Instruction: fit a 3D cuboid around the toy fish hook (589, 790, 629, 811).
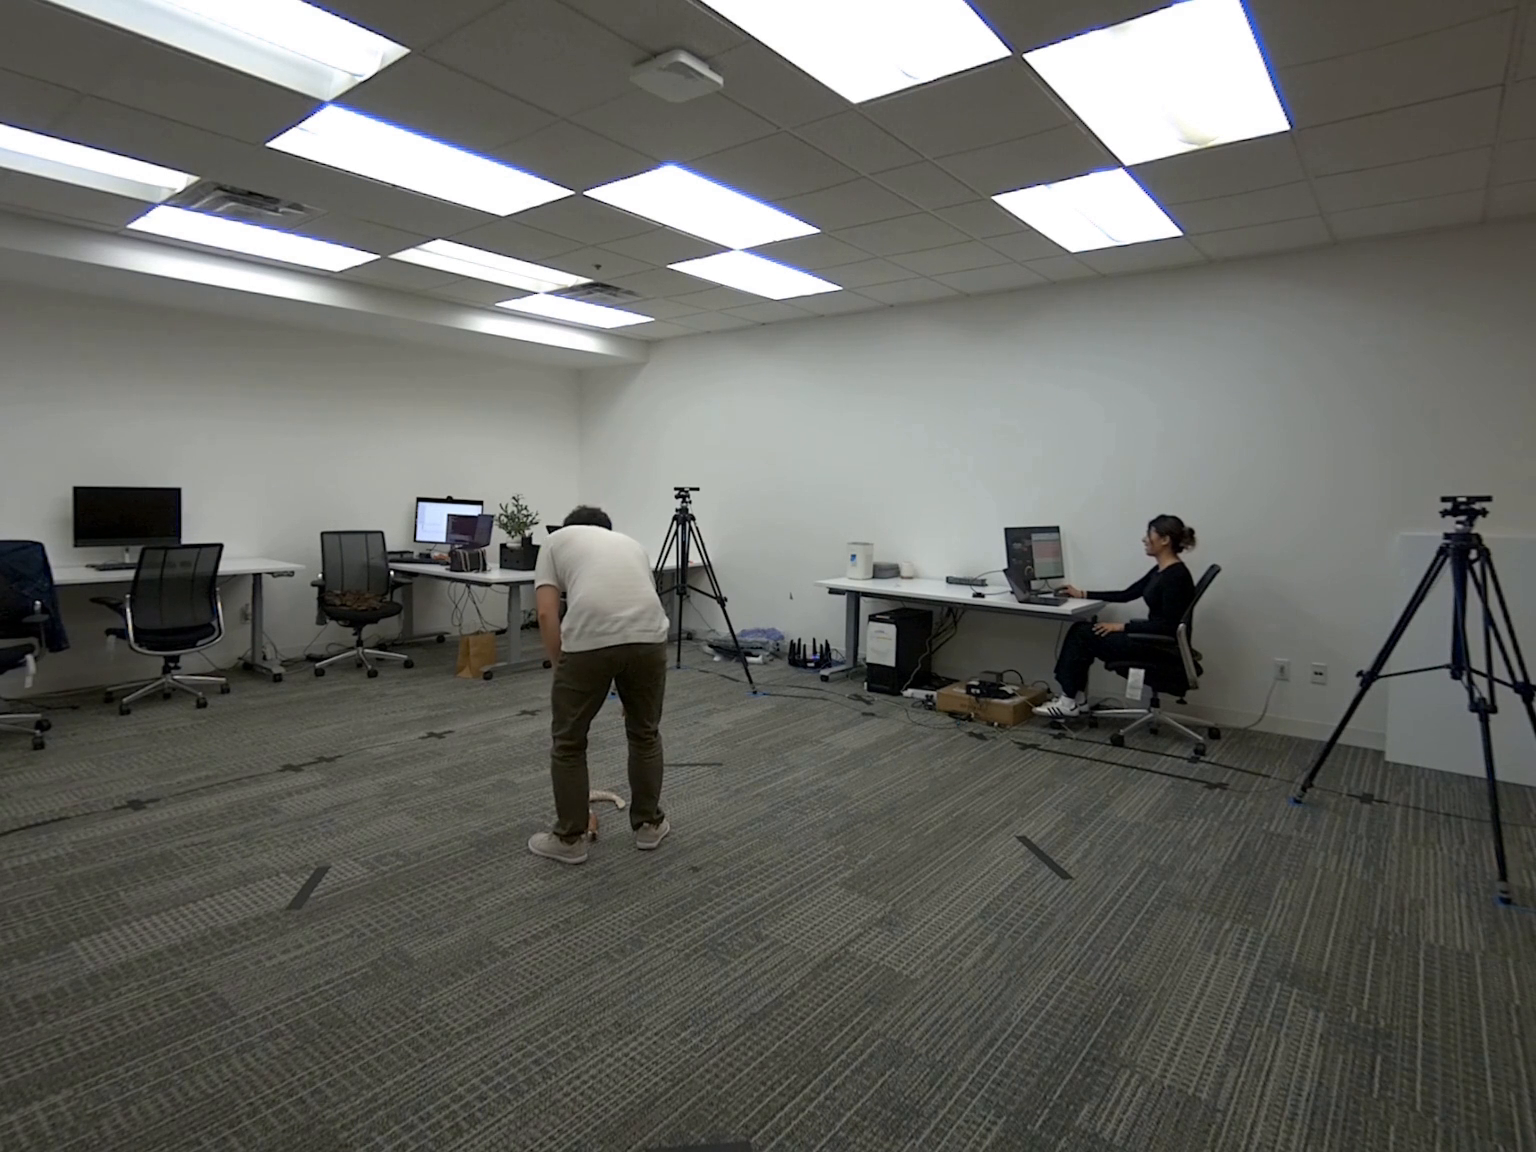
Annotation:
[{"bbox_3d":[-0.709,0.988,3.572,0.221,0.048,0.516,-2,7,-14],"label":"toy fish hook"}]
